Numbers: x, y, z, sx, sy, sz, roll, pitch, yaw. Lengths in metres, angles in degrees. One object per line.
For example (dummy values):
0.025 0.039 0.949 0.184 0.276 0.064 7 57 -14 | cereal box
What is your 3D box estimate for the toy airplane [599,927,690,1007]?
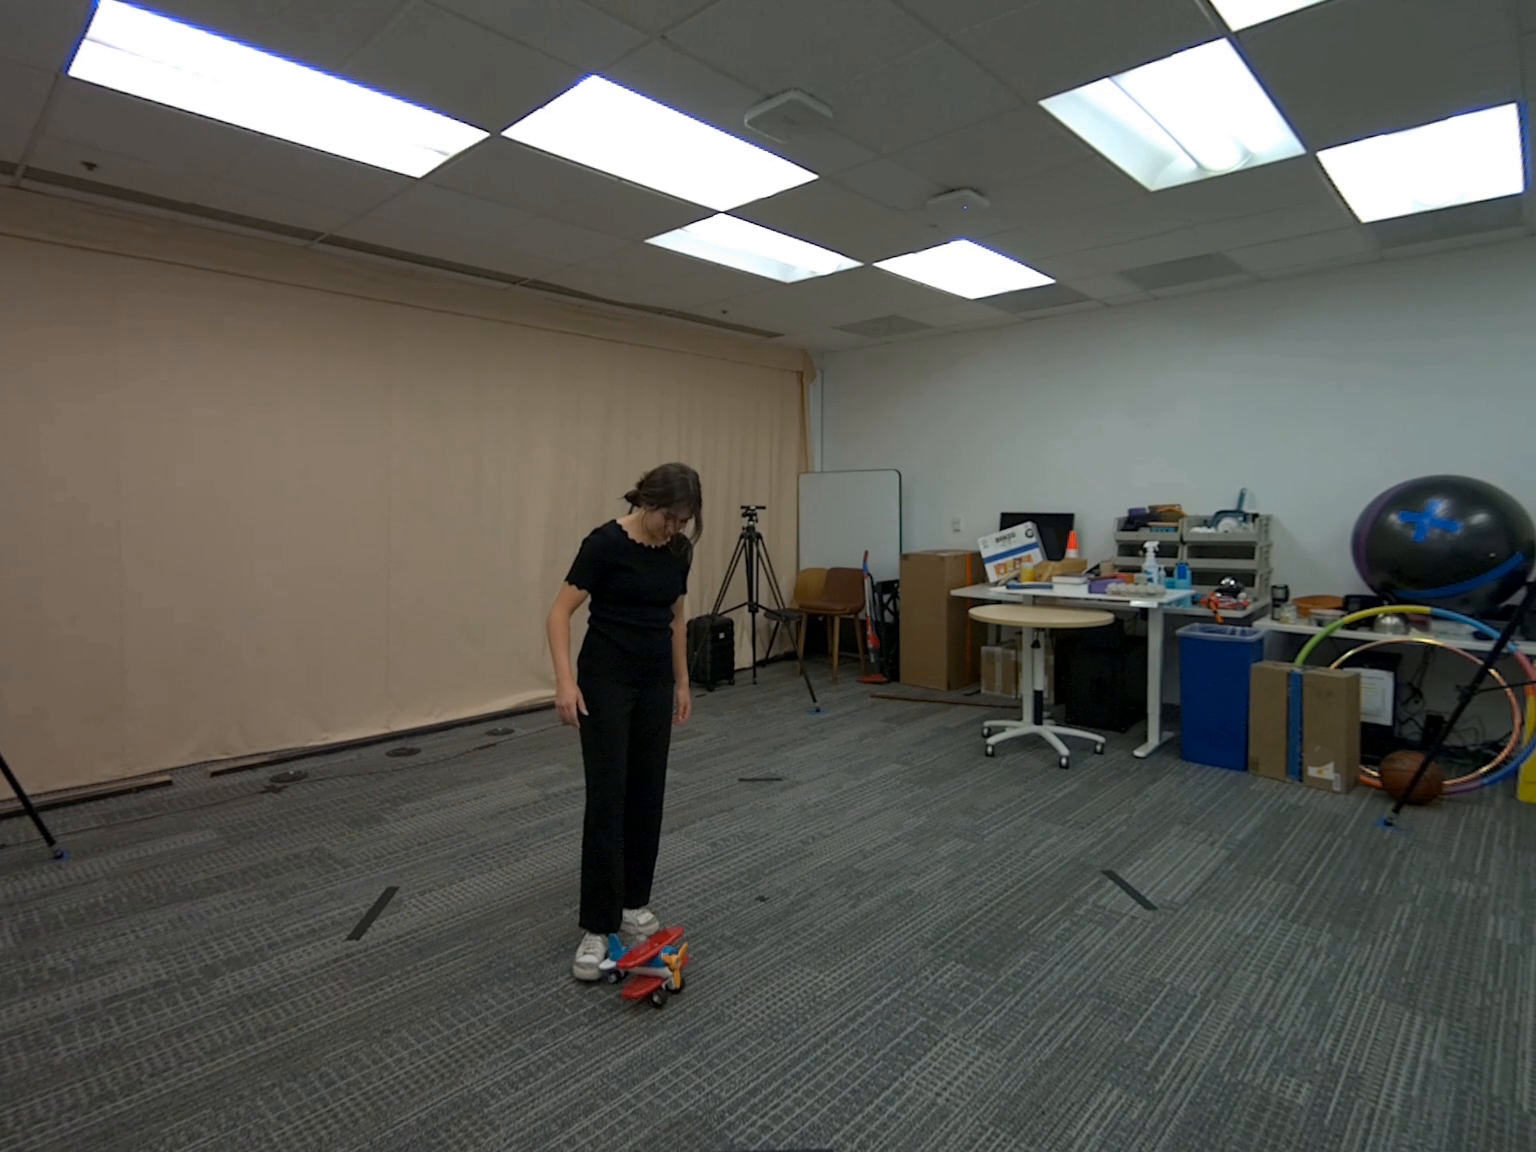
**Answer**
-0.356 1.120 2.397 0.260 0.156 0.251 2 4 3 | toy airplane
